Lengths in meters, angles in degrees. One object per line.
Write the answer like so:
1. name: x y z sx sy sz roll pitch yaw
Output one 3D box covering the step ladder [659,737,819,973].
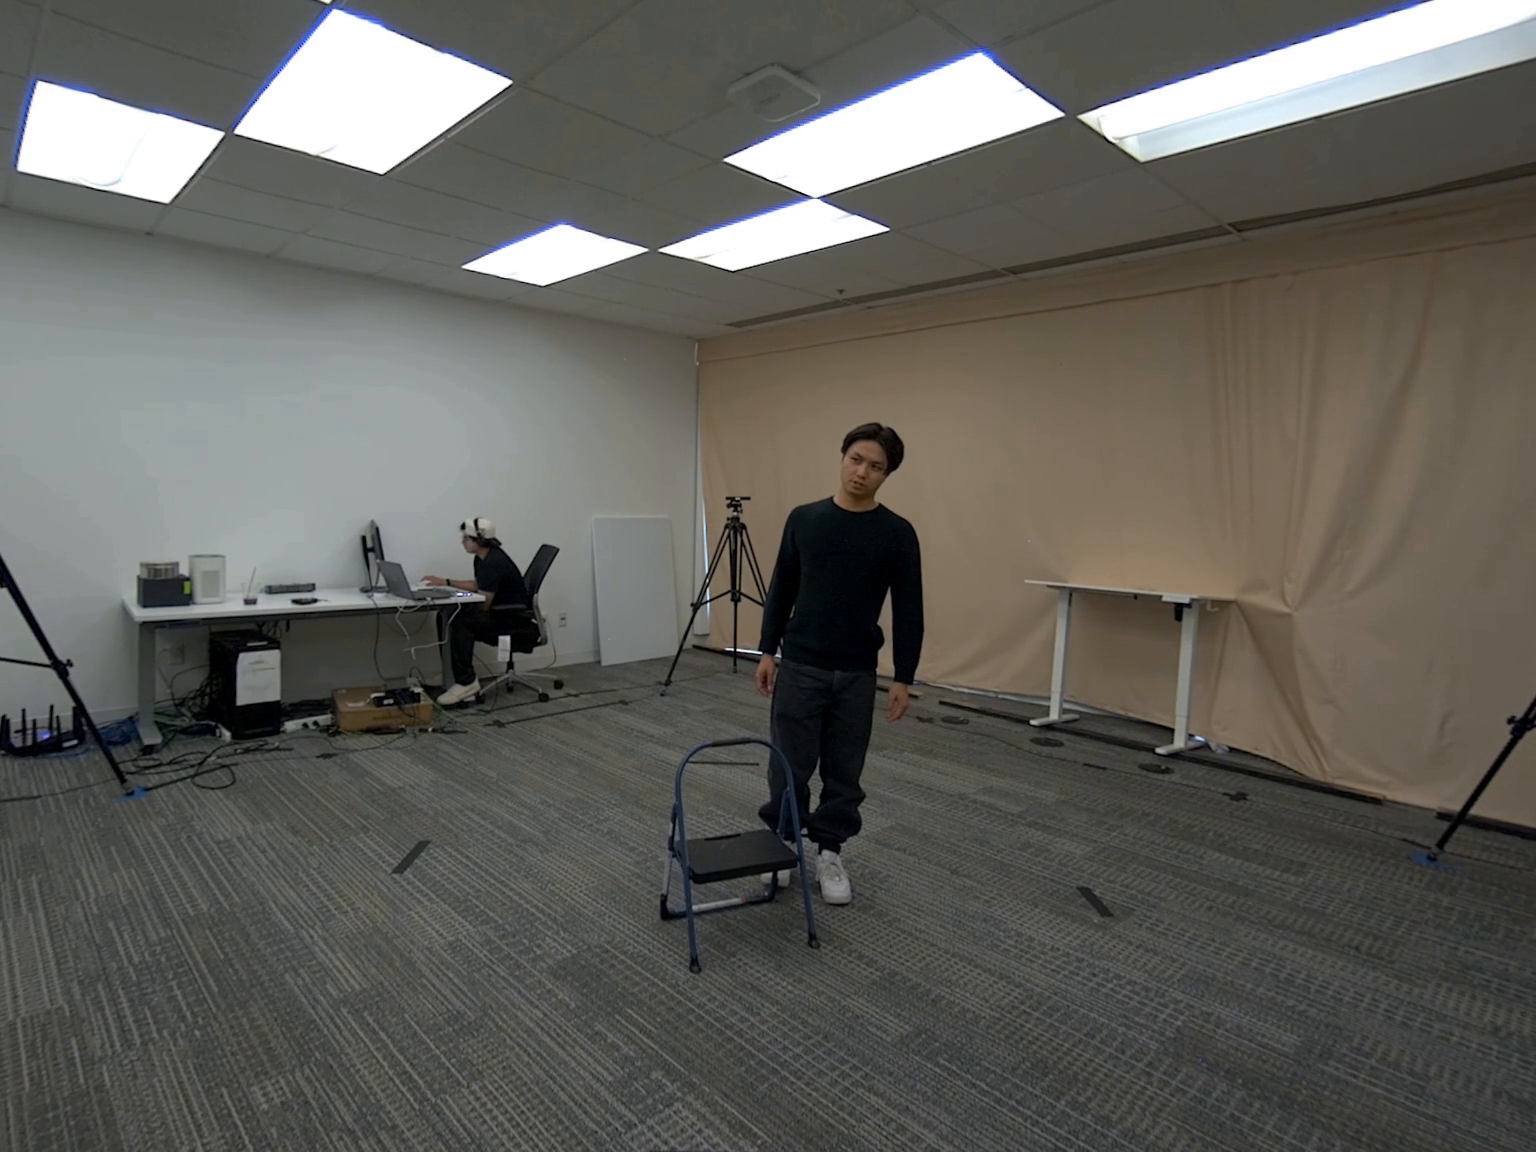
1. step ladder: -0.102 0.842 2.678 0.423 0.604 0.356 0 4 -24
